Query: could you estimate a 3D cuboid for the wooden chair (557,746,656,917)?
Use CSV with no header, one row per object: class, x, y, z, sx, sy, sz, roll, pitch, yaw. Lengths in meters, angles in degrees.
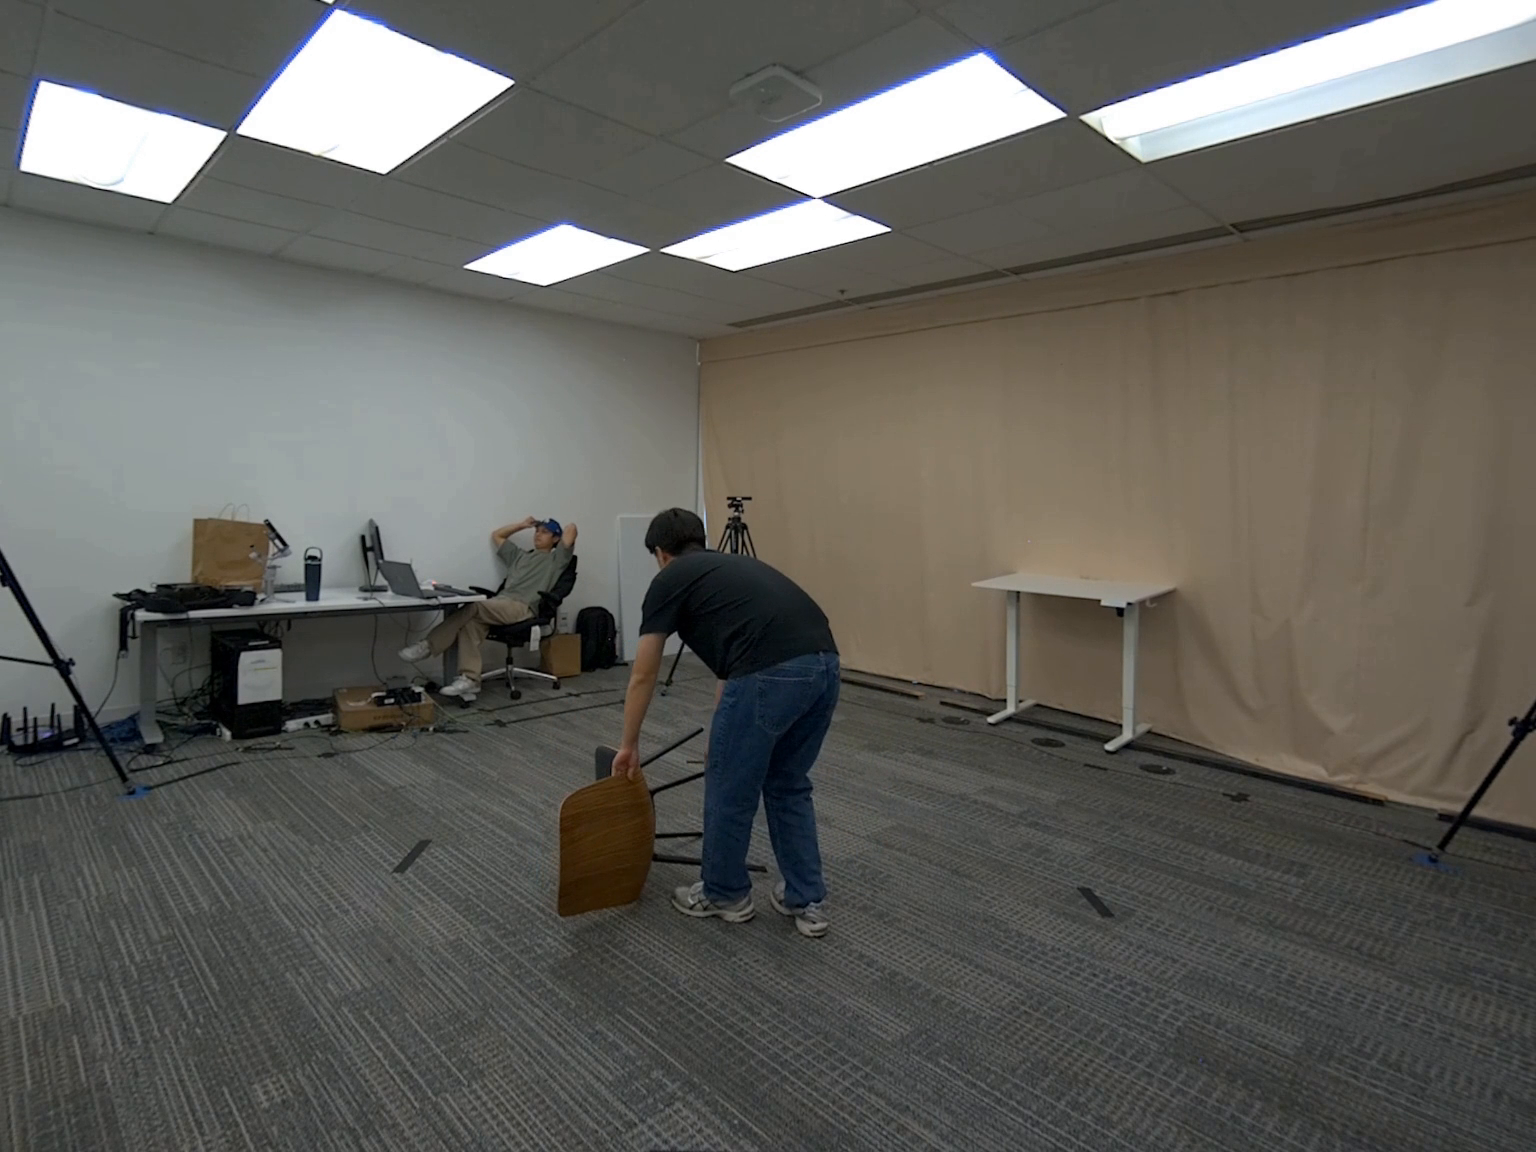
wooden chair,-0.485,0.872,3.039,0.858,0.477,0.536,-3,4,-40
